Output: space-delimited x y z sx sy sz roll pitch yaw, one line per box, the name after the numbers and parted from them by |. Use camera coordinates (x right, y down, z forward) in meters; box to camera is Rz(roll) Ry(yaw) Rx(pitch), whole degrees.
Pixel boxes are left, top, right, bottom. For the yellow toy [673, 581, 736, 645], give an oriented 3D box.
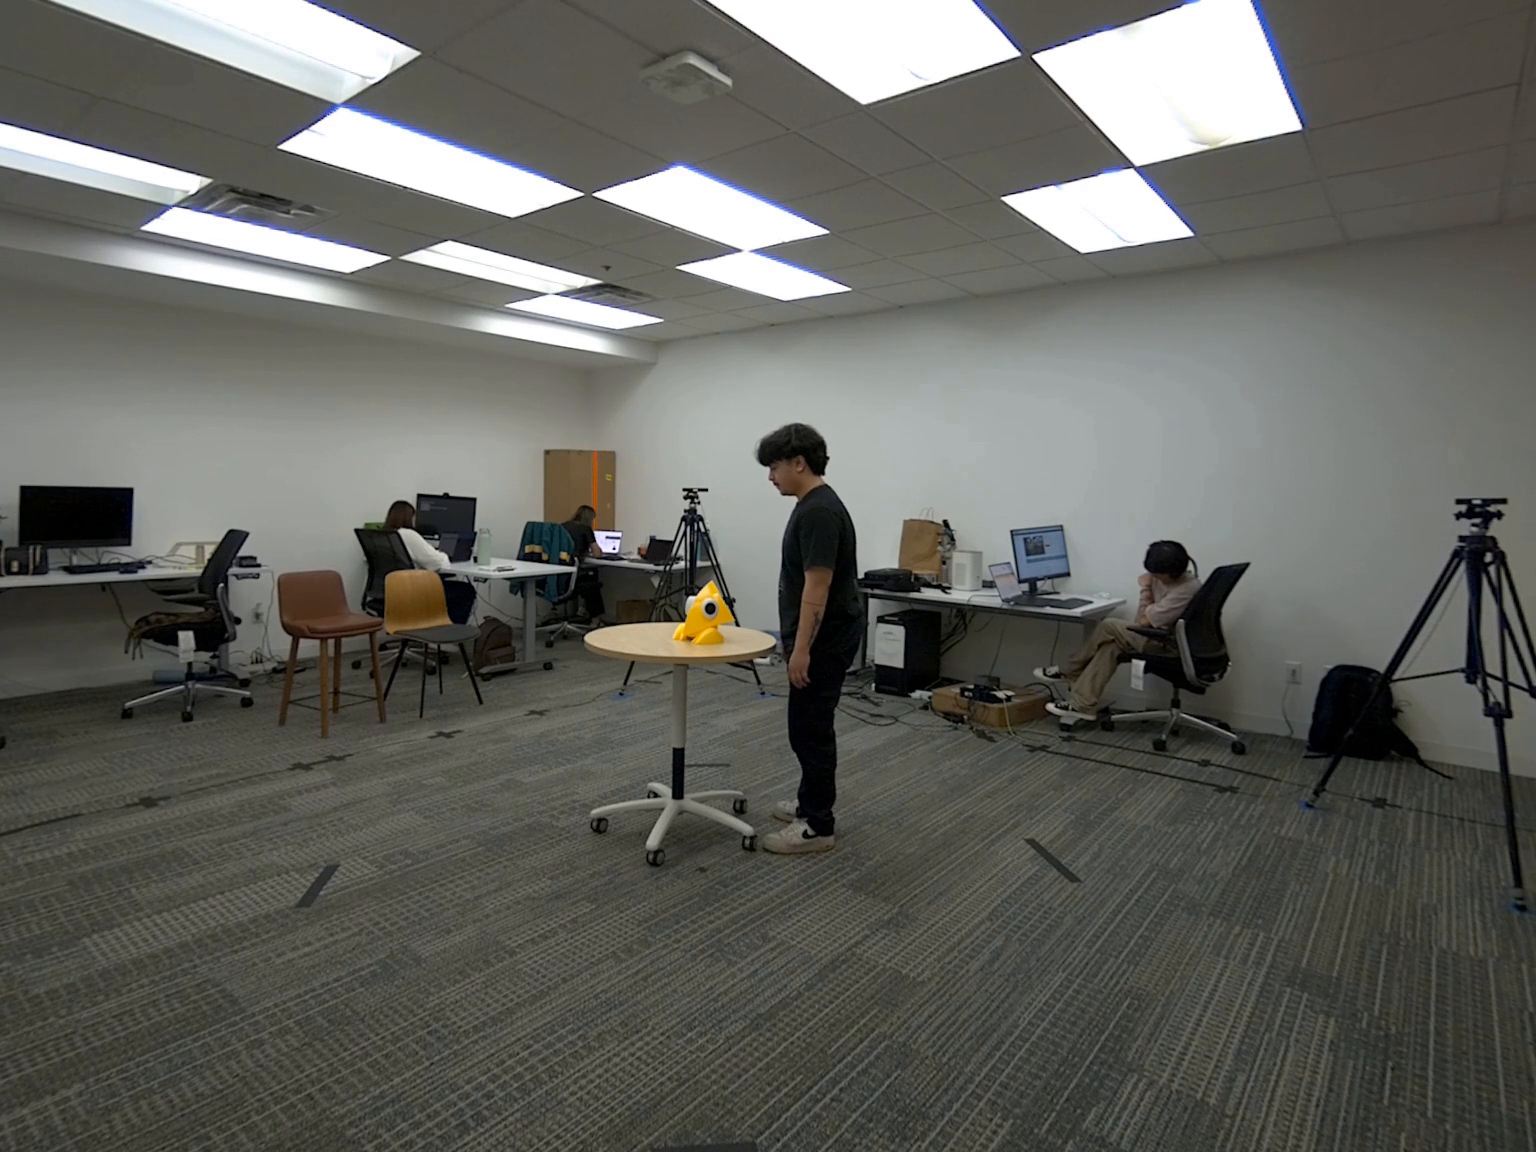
-0.278 0.134 3.389 0.212 0.230 0.187 5 6 41 | yellow toy
